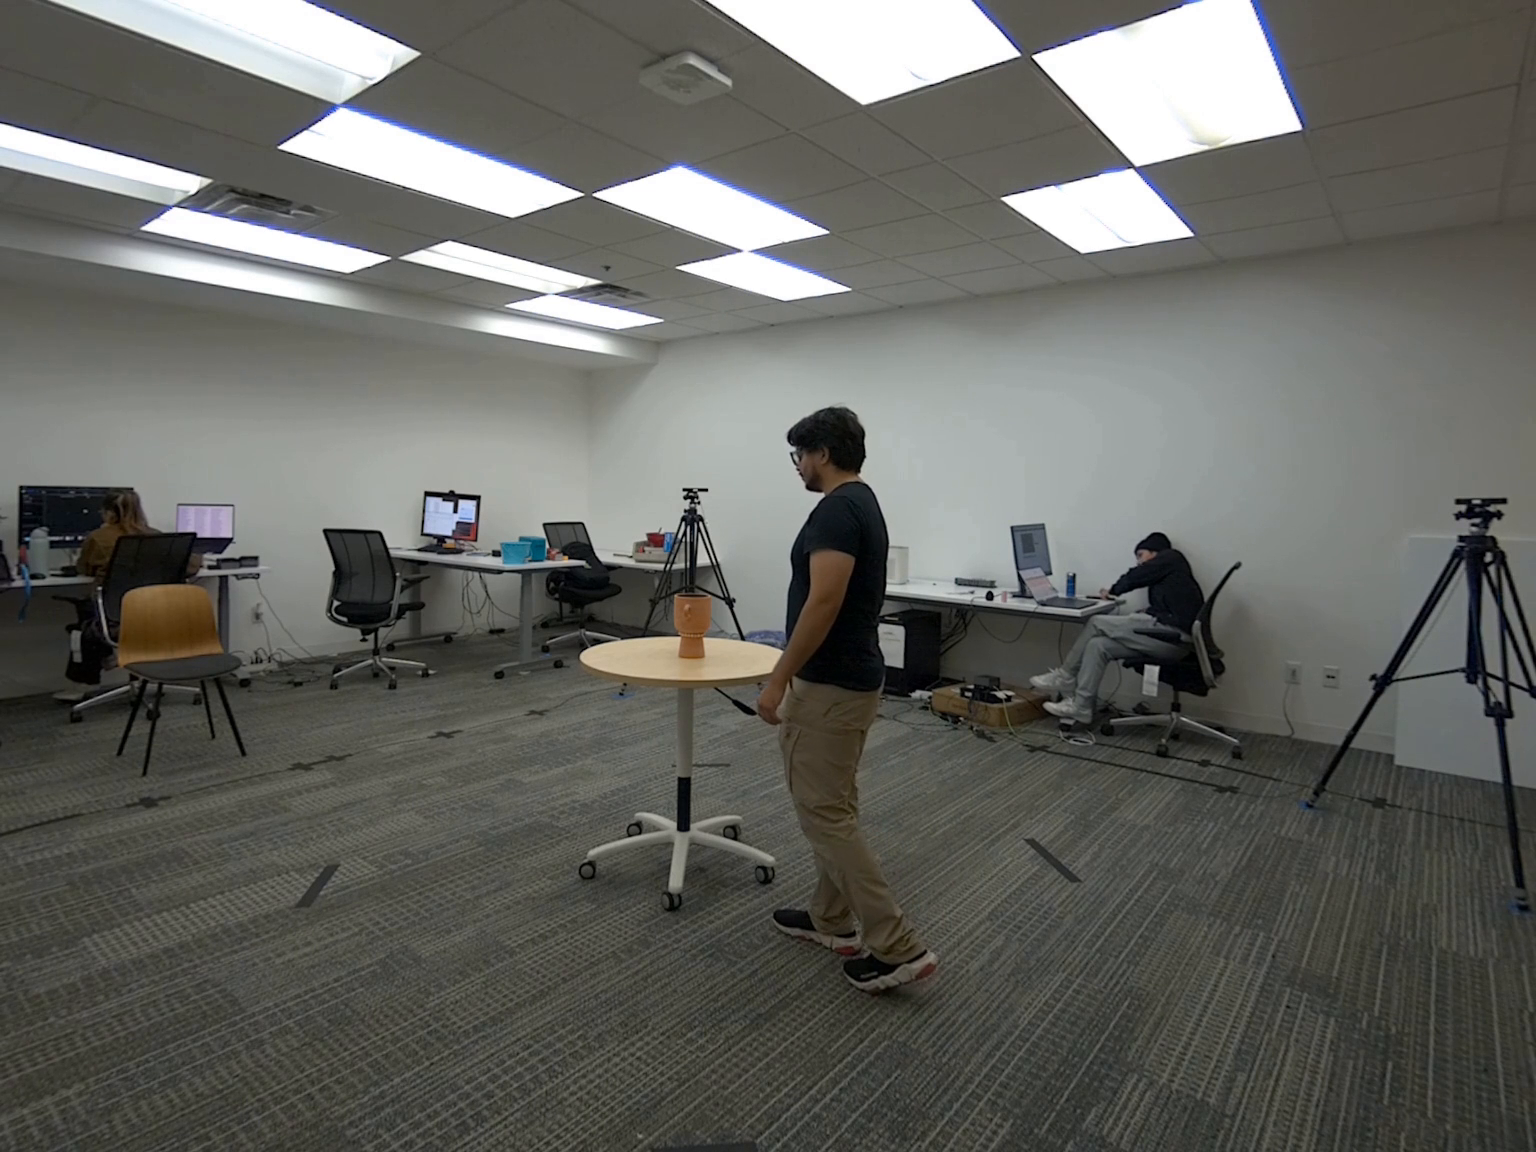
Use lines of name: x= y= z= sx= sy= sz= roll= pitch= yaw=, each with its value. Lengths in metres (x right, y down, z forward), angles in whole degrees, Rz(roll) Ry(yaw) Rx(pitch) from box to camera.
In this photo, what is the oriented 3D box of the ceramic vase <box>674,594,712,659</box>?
ceramic vase: x=-0.285 y=0.178 z=3.078 sx=0.154 sy=0.219 sz=0.139 roll=-1 pitch=4 yaw=-40
